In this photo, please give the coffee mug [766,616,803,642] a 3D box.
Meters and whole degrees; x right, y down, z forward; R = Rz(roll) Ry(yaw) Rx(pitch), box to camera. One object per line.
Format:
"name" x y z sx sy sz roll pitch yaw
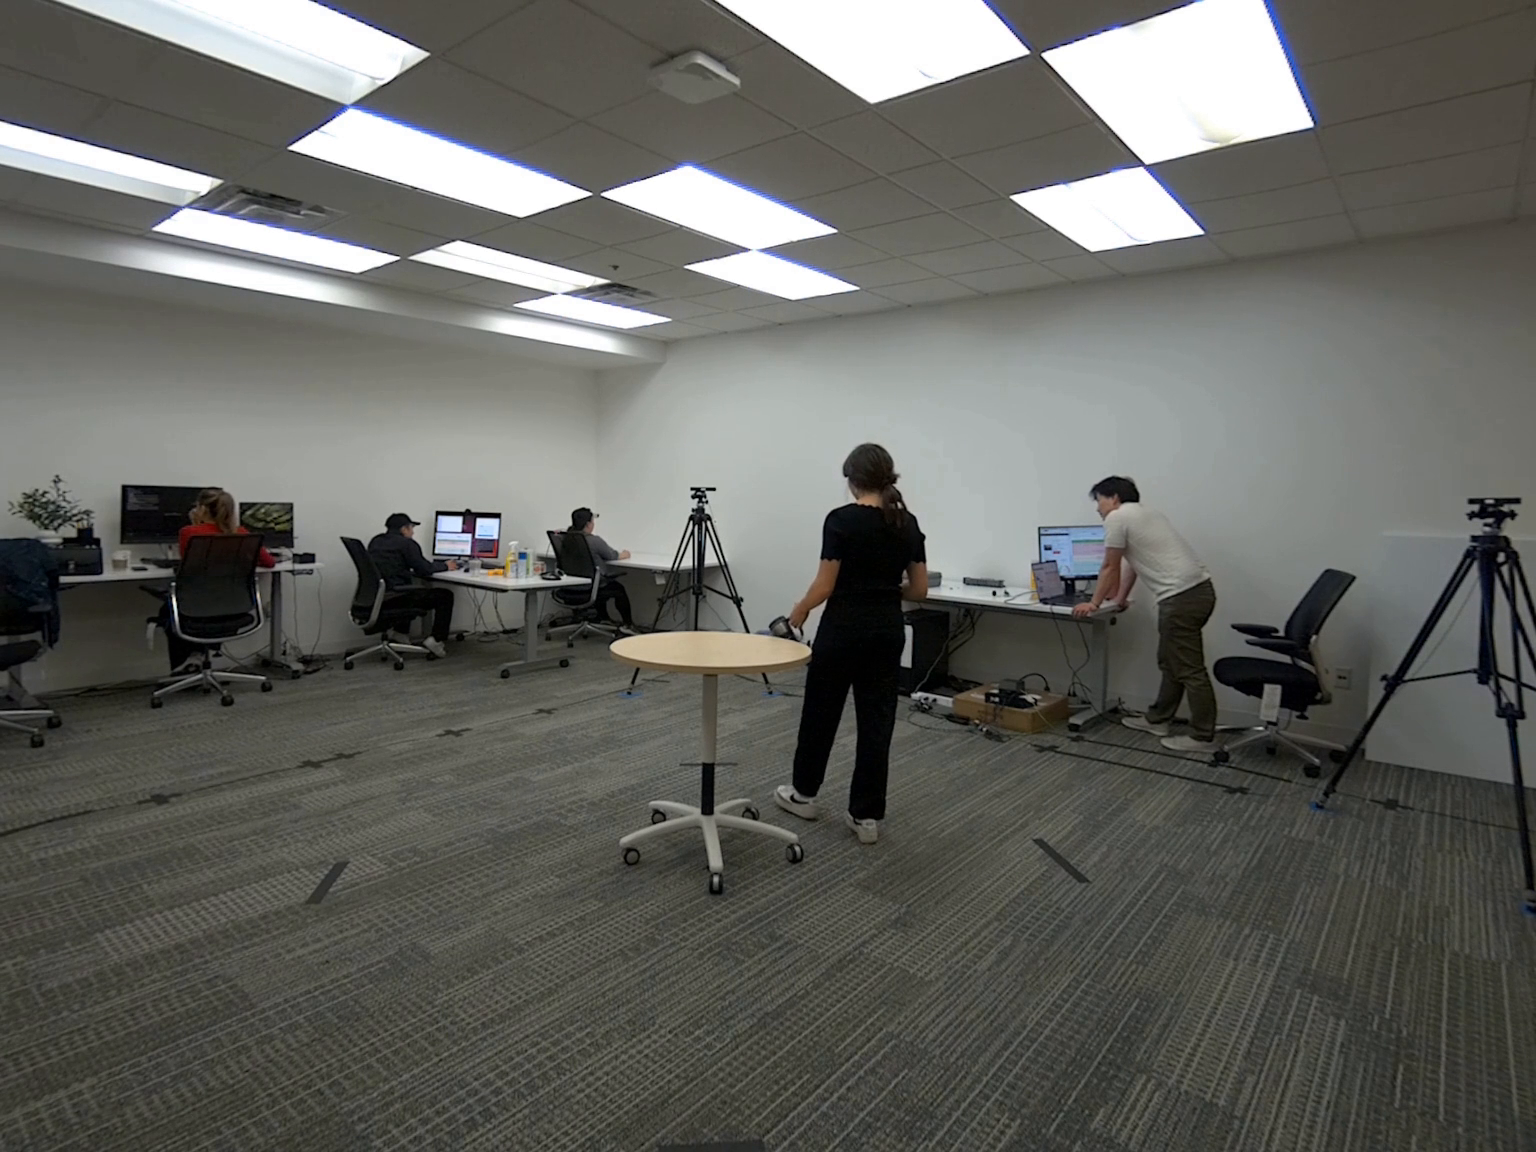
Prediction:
"coffee mug" 0.098 0.259 3.656 0.085 0.209 0.122 -9 -32 -47
